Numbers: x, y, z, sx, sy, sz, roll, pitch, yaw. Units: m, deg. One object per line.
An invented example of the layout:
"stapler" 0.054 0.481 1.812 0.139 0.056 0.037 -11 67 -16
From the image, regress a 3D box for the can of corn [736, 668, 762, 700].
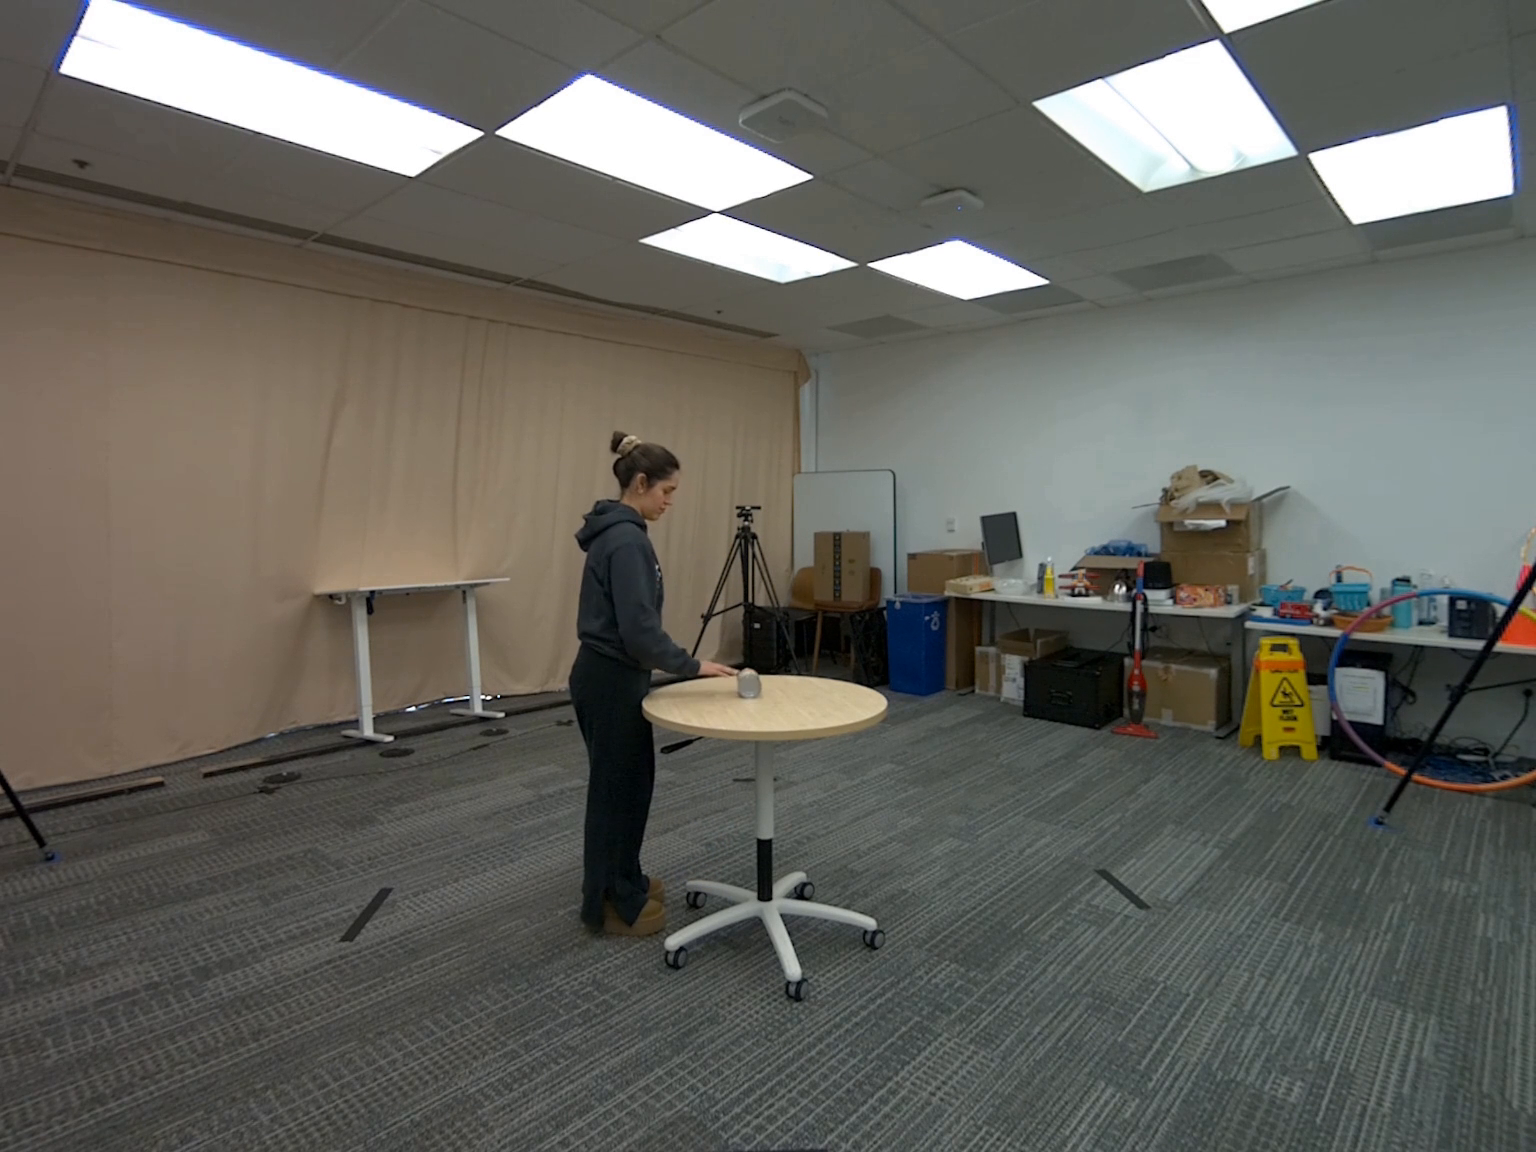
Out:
"can of corn" -0.047 0.346 2.709 0.074 0.074 0.111 0 3 1
